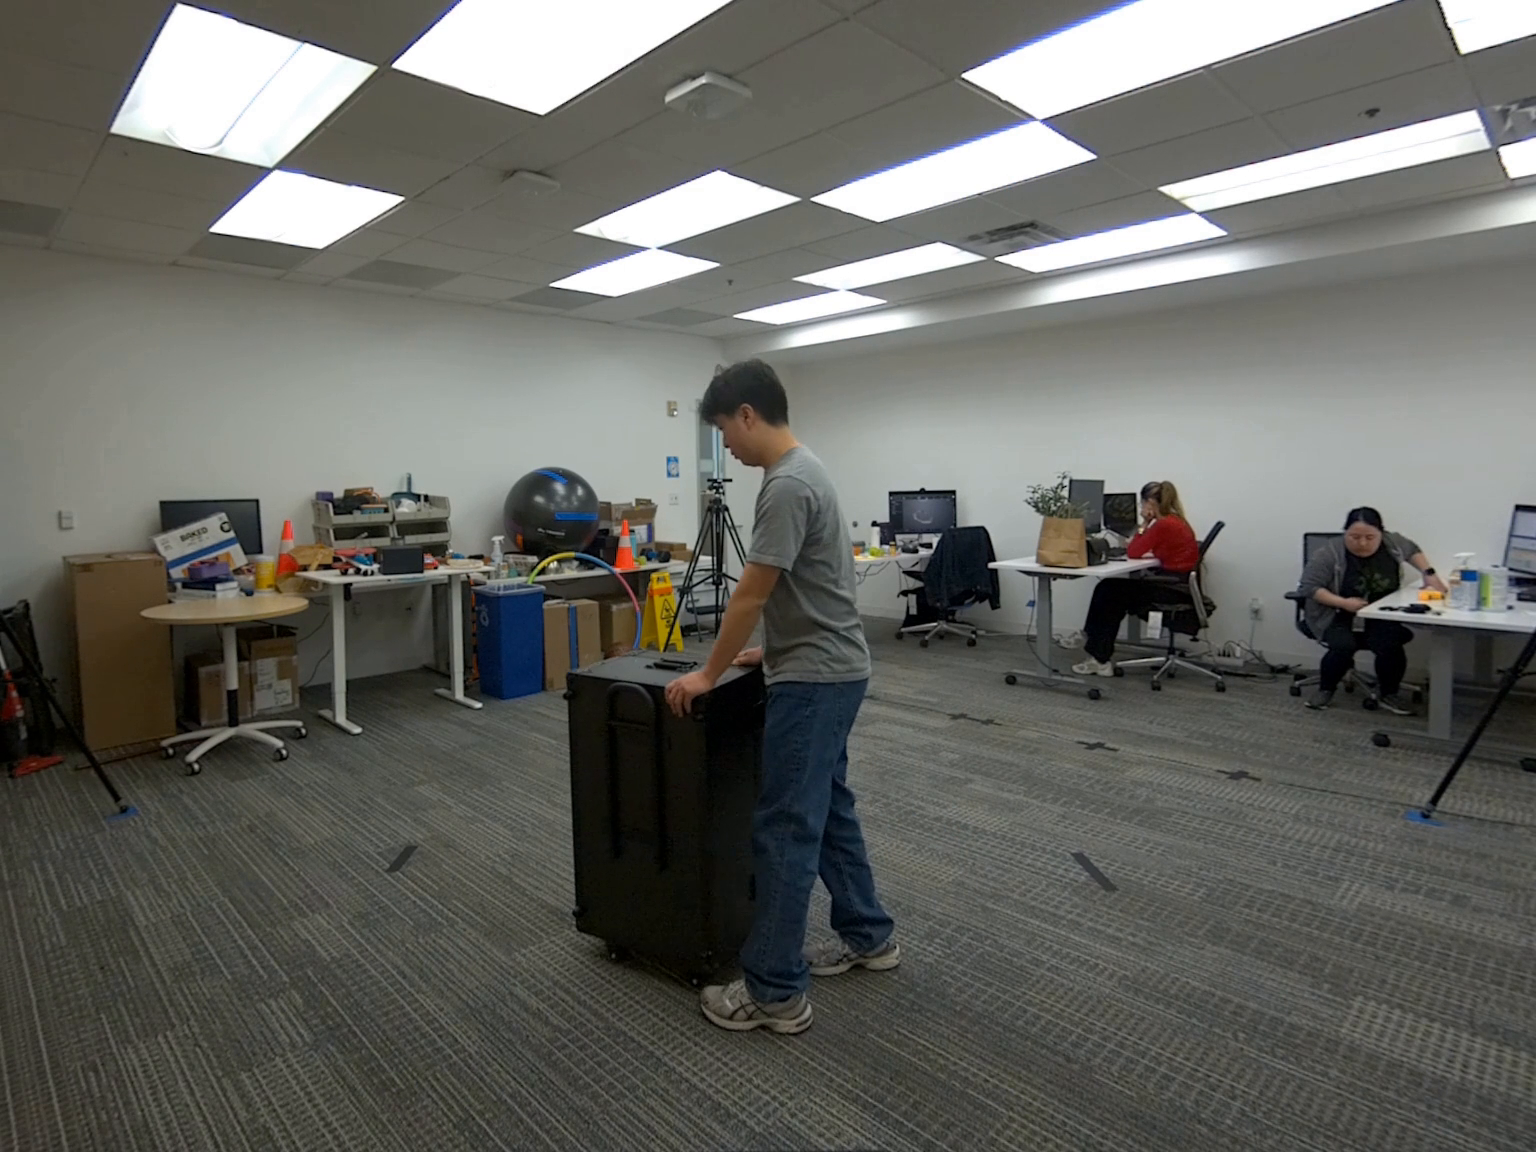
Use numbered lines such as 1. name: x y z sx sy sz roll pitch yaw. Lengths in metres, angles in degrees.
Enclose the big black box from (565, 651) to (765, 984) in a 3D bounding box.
1. big black box: -0.284 0.692 2.525 0.535 0.858 0.388 2 6 30
